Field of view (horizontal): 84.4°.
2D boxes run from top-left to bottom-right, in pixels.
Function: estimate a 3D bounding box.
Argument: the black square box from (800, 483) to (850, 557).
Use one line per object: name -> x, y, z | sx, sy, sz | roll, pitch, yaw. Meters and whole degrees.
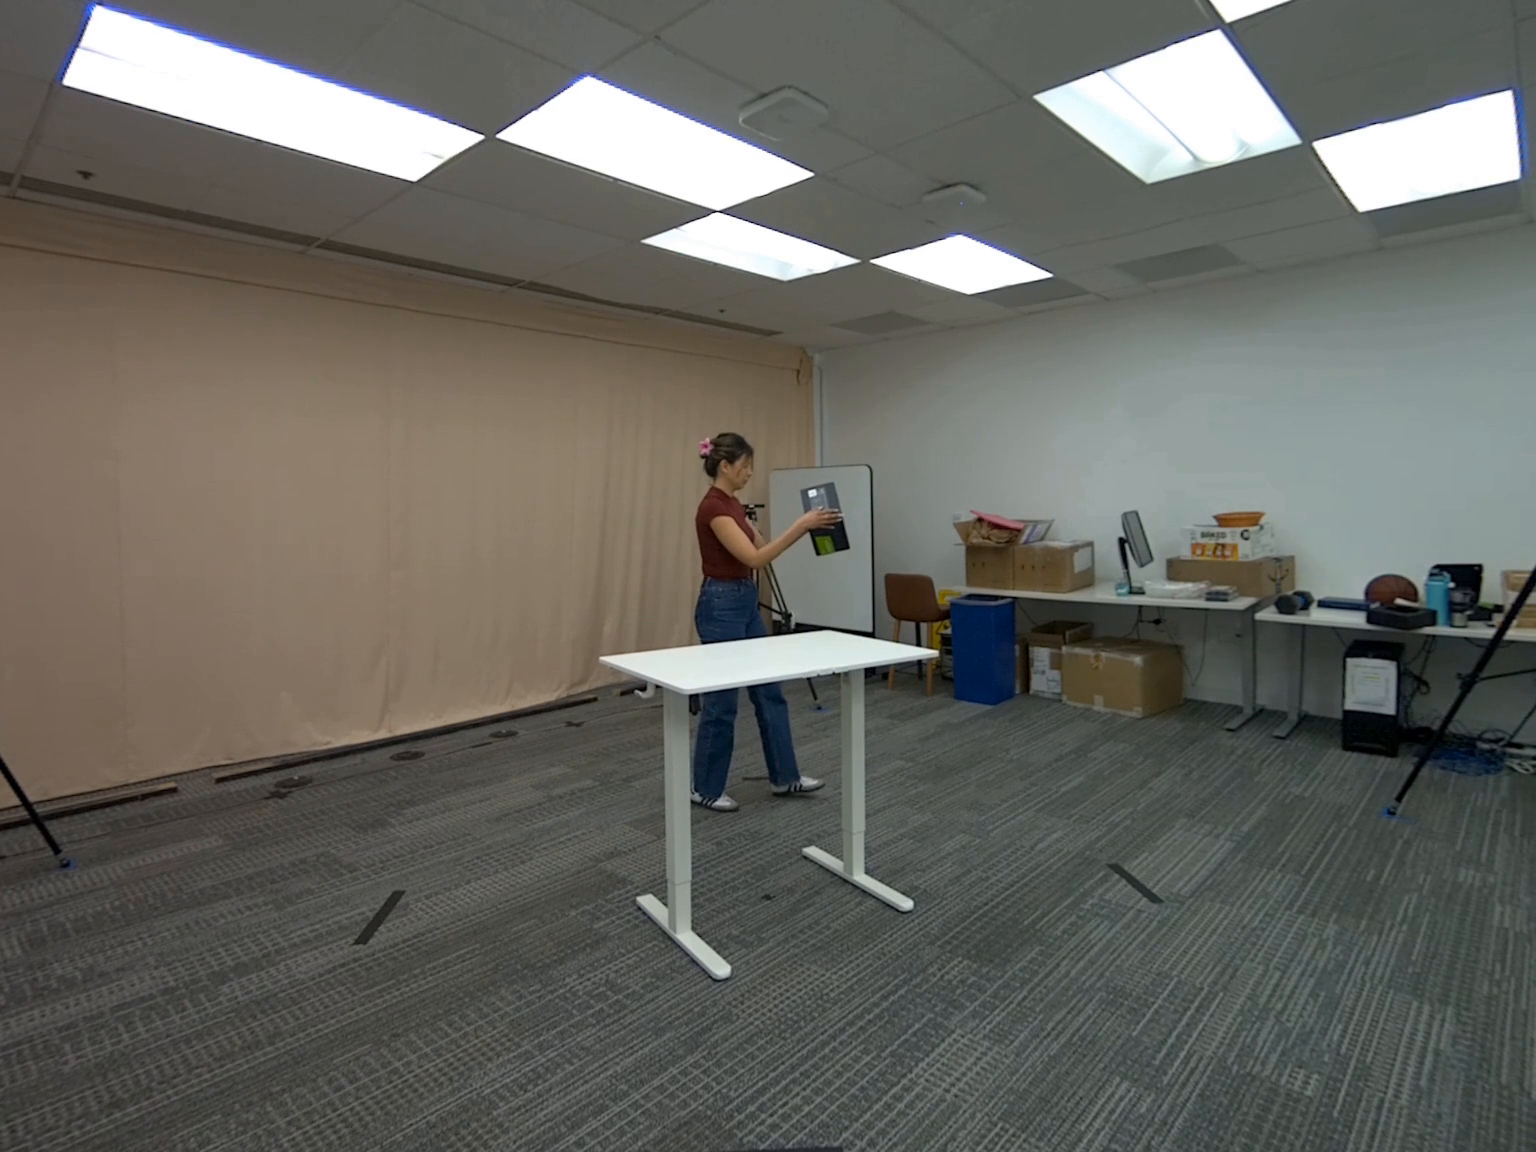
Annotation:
black square box -> 0.264, -0.255, 3.768 | 0.157, 0.221, 0.221 | -11, 46, 11
